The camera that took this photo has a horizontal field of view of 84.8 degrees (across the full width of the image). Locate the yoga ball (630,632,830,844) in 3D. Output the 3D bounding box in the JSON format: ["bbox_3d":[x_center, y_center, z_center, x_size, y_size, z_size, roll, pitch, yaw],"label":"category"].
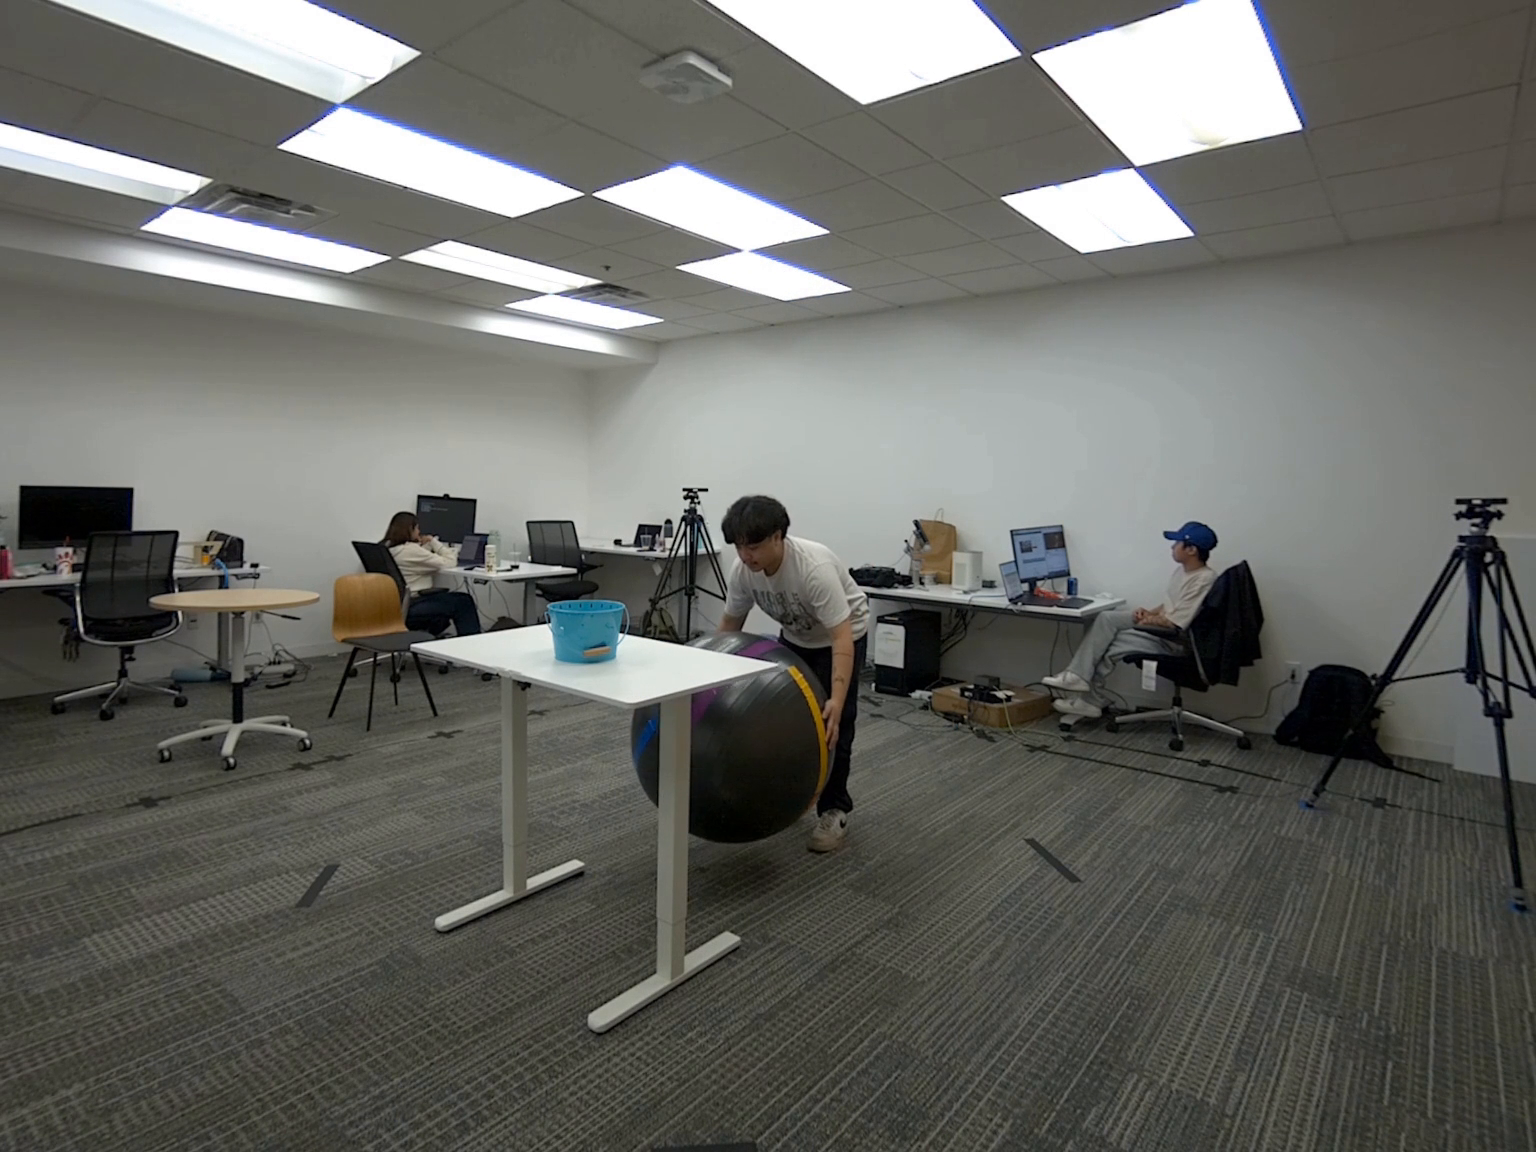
[{"bbox_3d":[-0.140,0.593,3.160,0.757,0.755,0.762,1,4,-2],"label":"yoga ball"}]
